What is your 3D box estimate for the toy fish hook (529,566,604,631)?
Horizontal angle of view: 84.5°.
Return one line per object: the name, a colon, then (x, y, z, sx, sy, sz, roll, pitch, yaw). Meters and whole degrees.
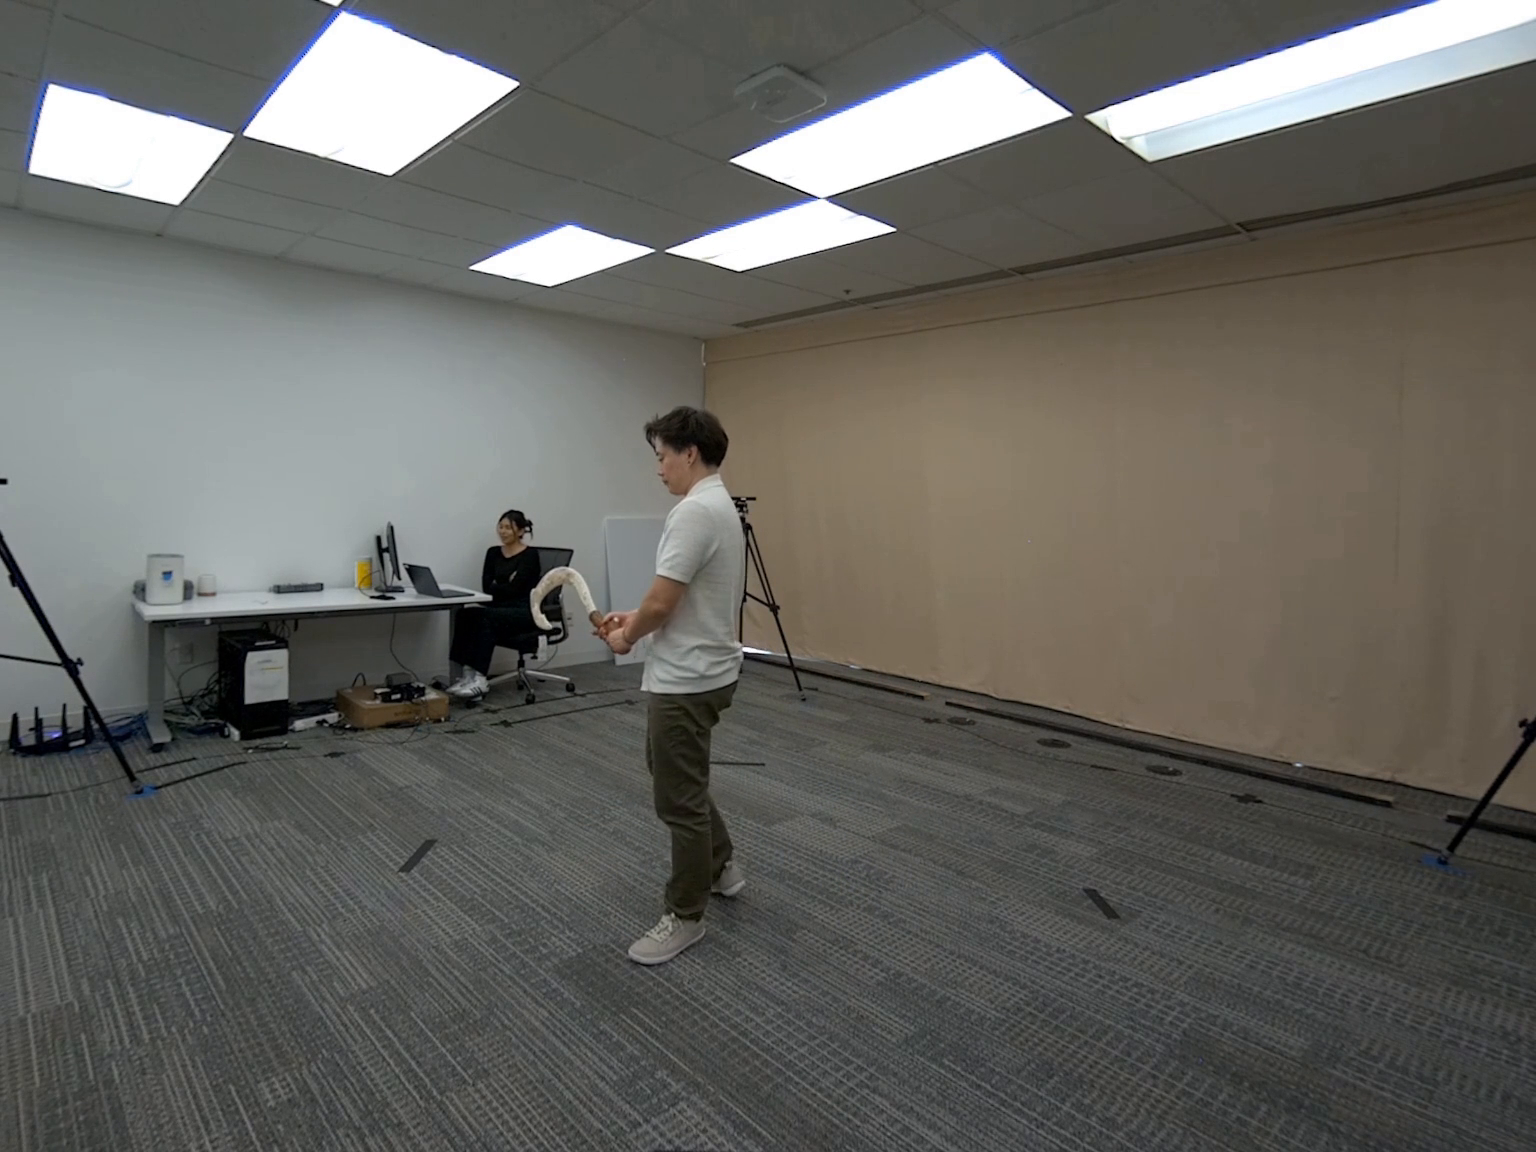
toy fish hook: (-0.647, 0.153, 2.836, 0.523, 0.224, 0.047, 37, -2, 39)
